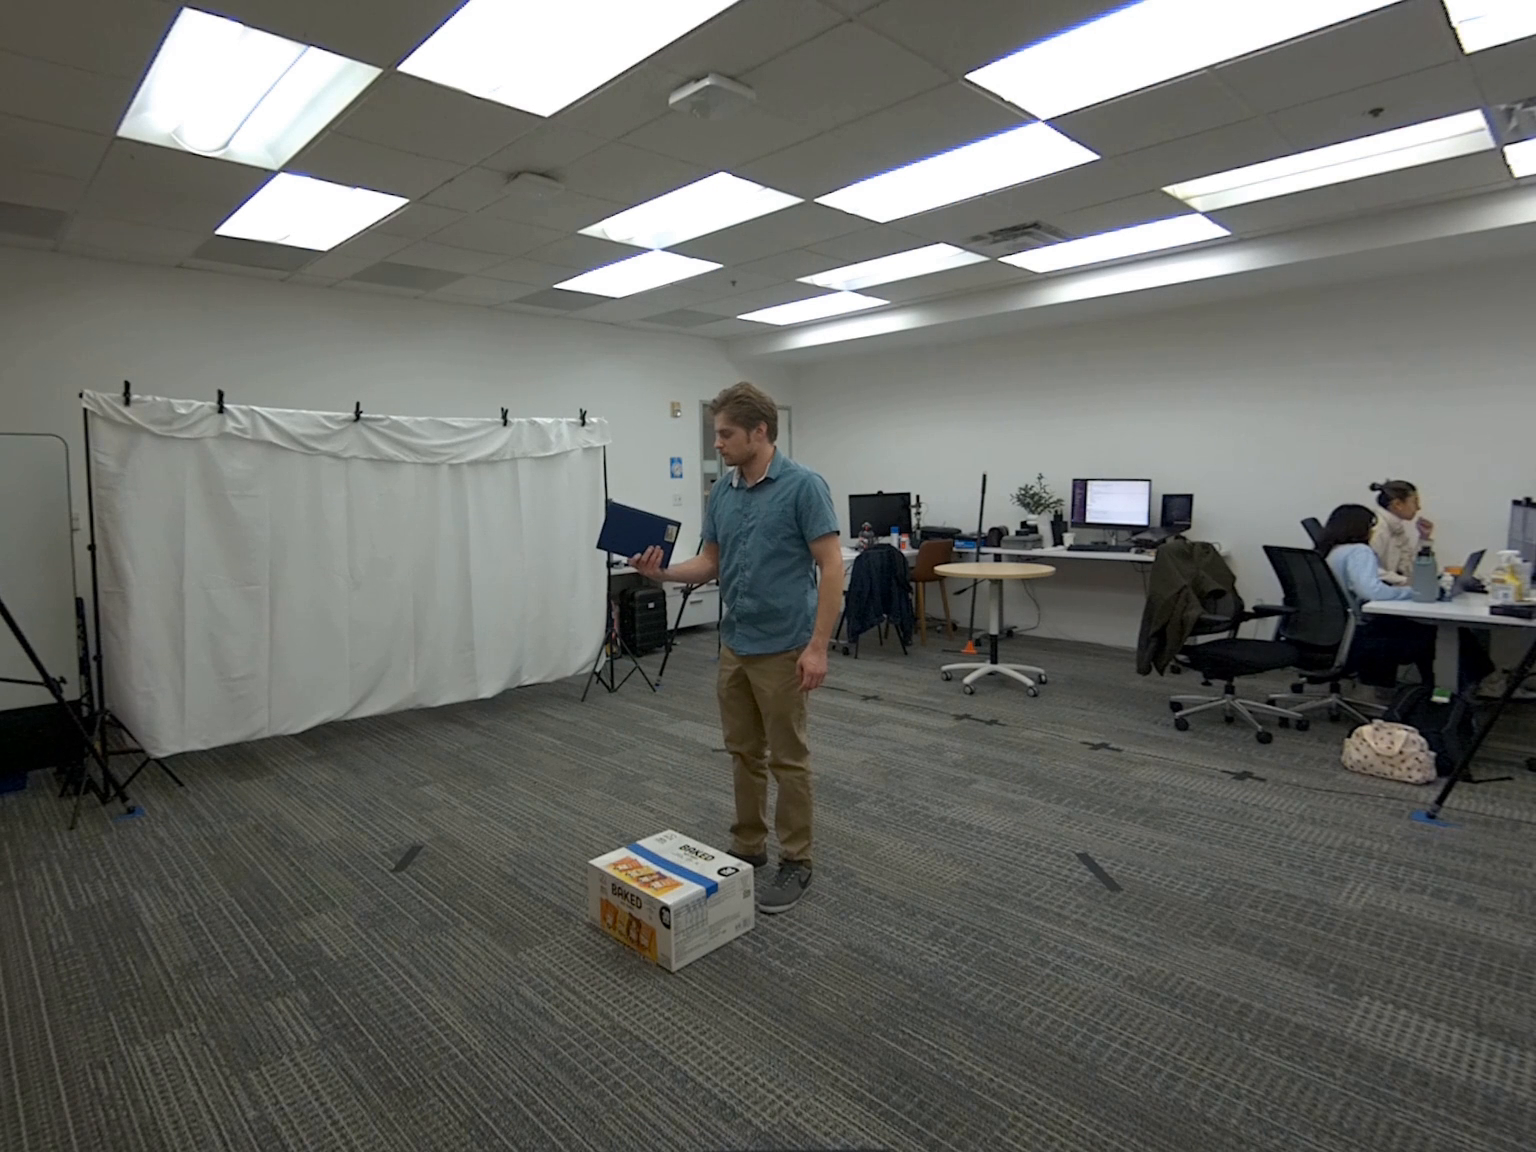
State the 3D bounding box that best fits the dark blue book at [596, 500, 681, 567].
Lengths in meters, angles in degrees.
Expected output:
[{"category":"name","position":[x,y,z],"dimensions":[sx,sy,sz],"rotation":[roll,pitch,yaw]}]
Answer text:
[{"category":"dark blue book","position":[-0.423,-0.137,2.801],"dimensions":[0.244,0.163,0.045],"rotation":[17,2,-4]}]
